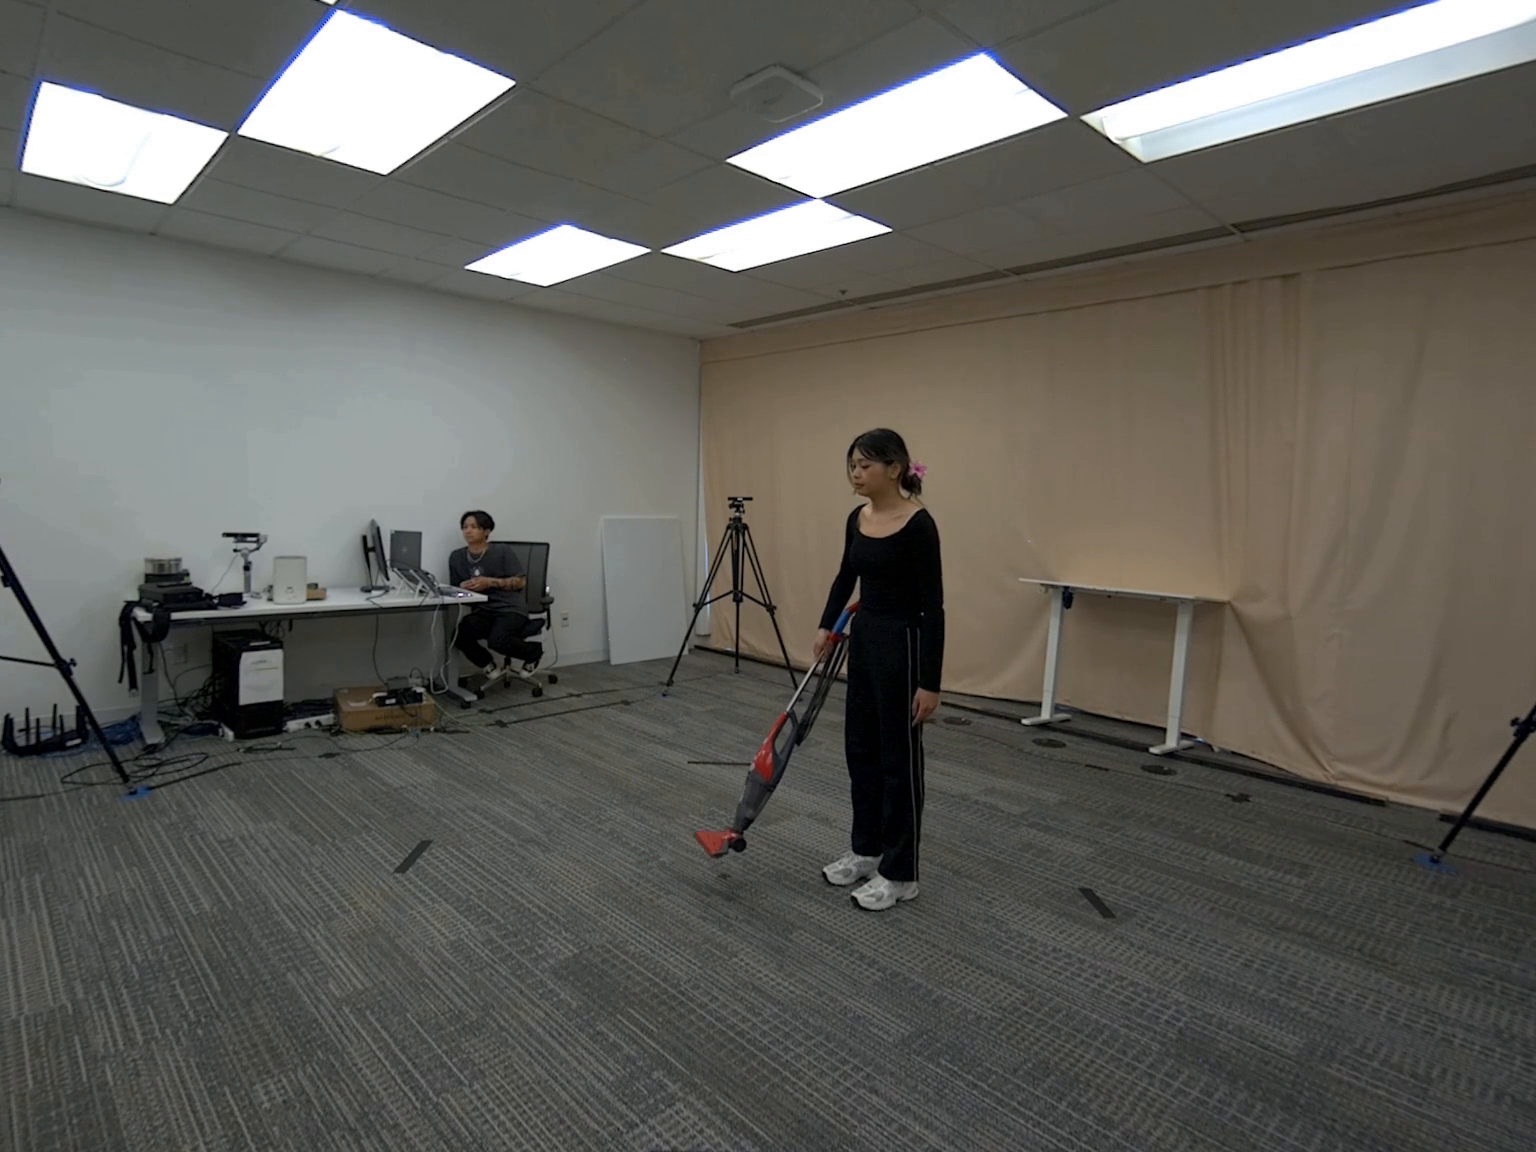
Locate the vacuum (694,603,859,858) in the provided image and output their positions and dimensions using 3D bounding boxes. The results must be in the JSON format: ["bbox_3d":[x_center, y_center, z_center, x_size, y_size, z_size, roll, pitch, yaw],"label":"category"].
[{"bbox_3d":[0.087,0.531,3.092,0.141,1.052,0.256,35,-12,-18],"label":"vacuum"}]
